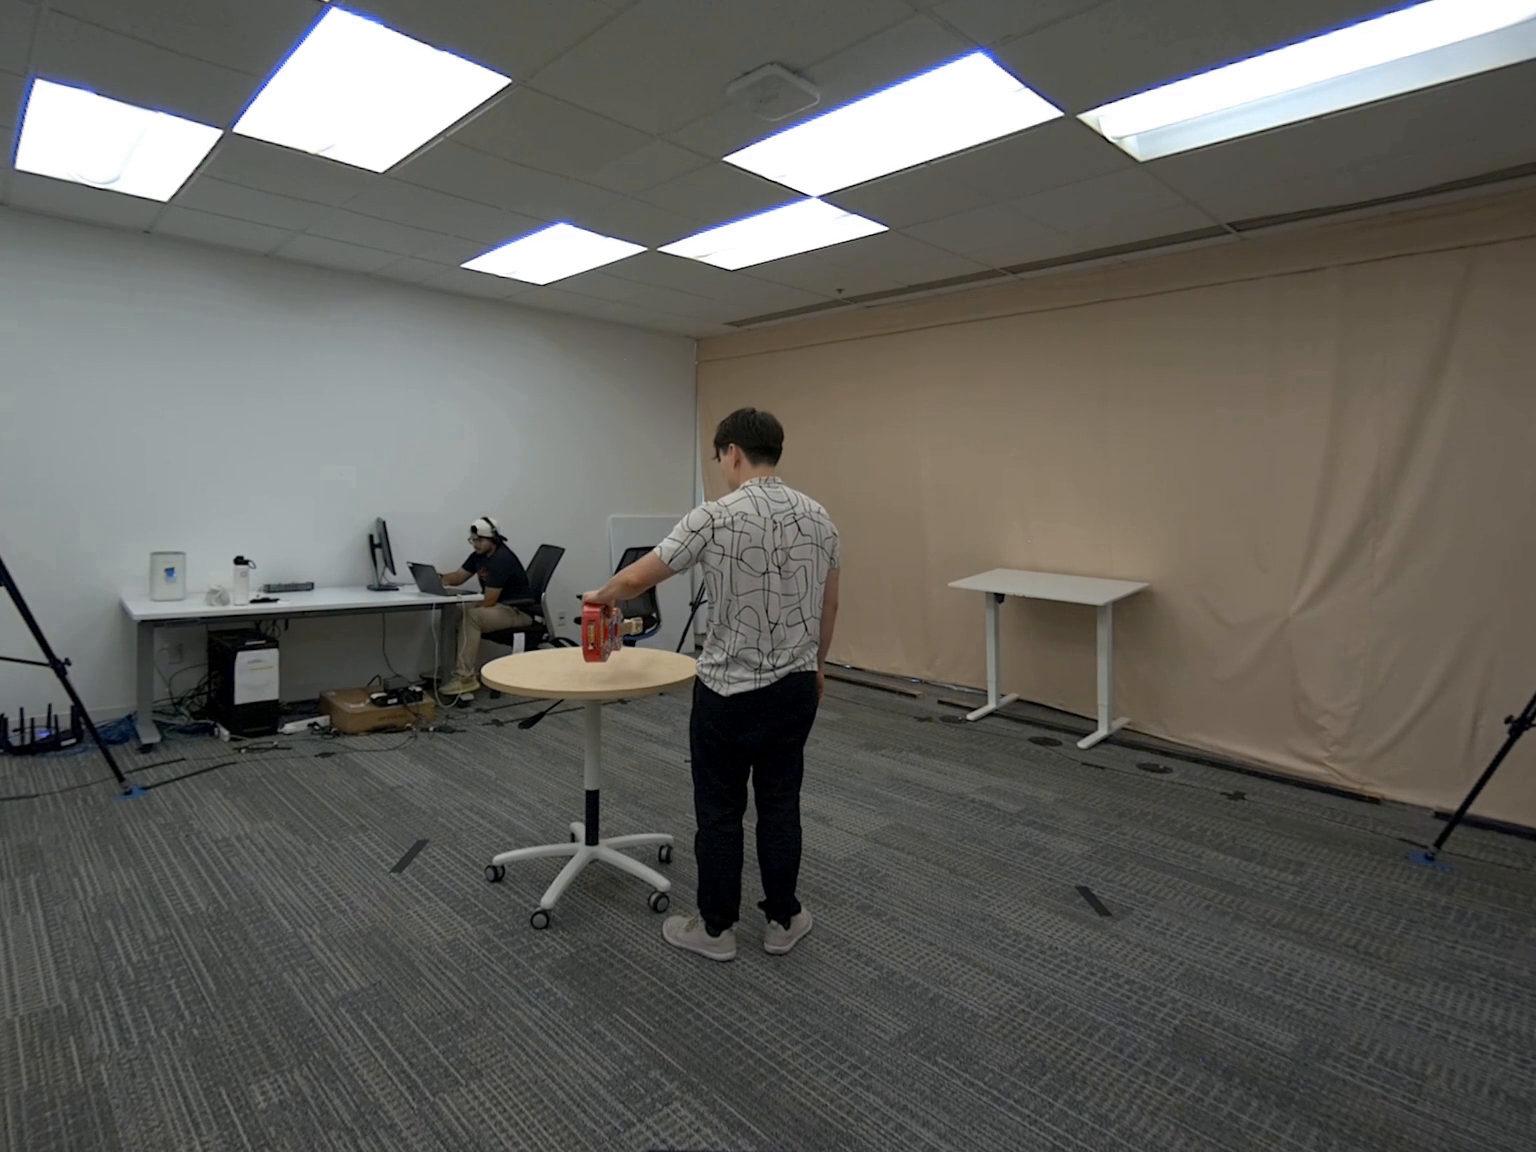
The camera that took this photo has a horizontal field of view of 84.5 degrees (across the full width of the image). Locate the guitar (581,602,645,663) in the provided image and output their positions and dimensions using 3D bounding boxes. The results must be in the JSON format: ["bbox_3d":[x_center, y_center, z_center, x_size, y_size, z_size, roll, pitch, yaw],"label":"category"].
[{"bbox_3d":[-0.524,0.209,2.889,0.071,0.194,0.490,0,-9,10],"label":"guitar"}]
